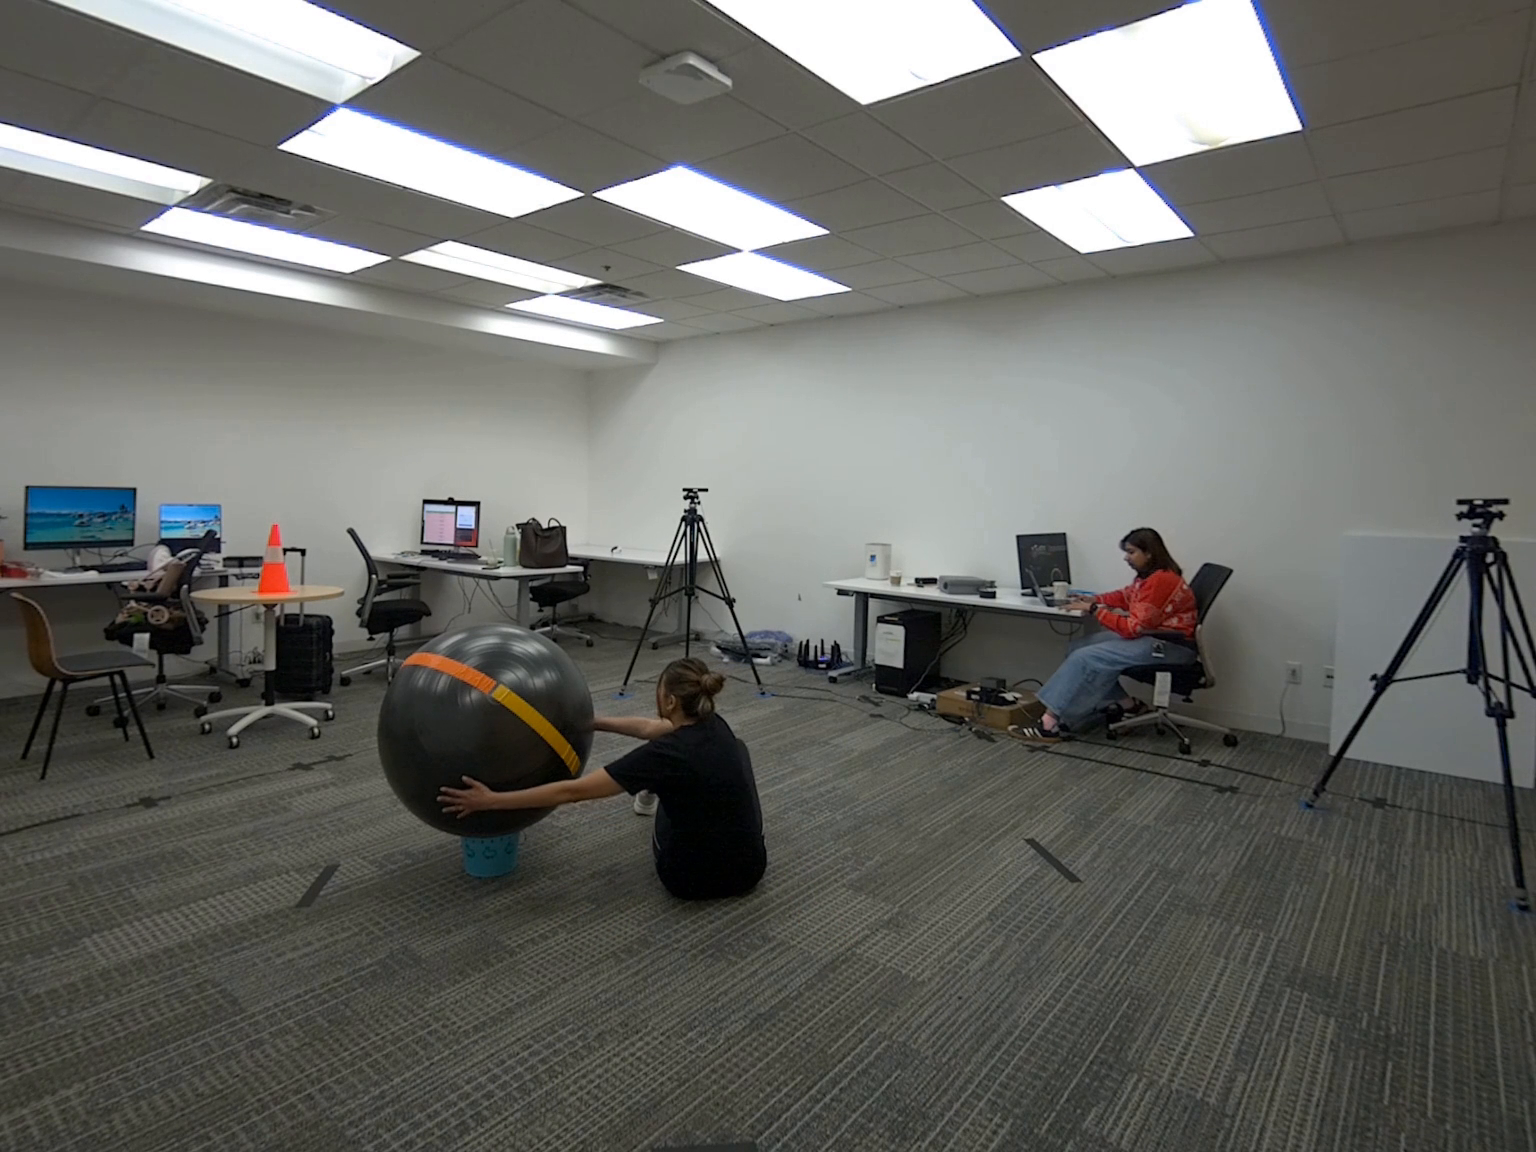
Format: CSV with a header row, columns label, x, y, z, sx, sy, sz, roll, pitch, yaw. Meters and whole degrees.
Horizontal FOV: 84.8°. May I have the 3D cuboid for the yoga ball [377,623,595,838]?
label,x,y,z,sx,sy,sz,roll,pitch,yaw
yoga ball,-1.022,0.553,3.075,0.757,0.756,0.762,1,4,-2
